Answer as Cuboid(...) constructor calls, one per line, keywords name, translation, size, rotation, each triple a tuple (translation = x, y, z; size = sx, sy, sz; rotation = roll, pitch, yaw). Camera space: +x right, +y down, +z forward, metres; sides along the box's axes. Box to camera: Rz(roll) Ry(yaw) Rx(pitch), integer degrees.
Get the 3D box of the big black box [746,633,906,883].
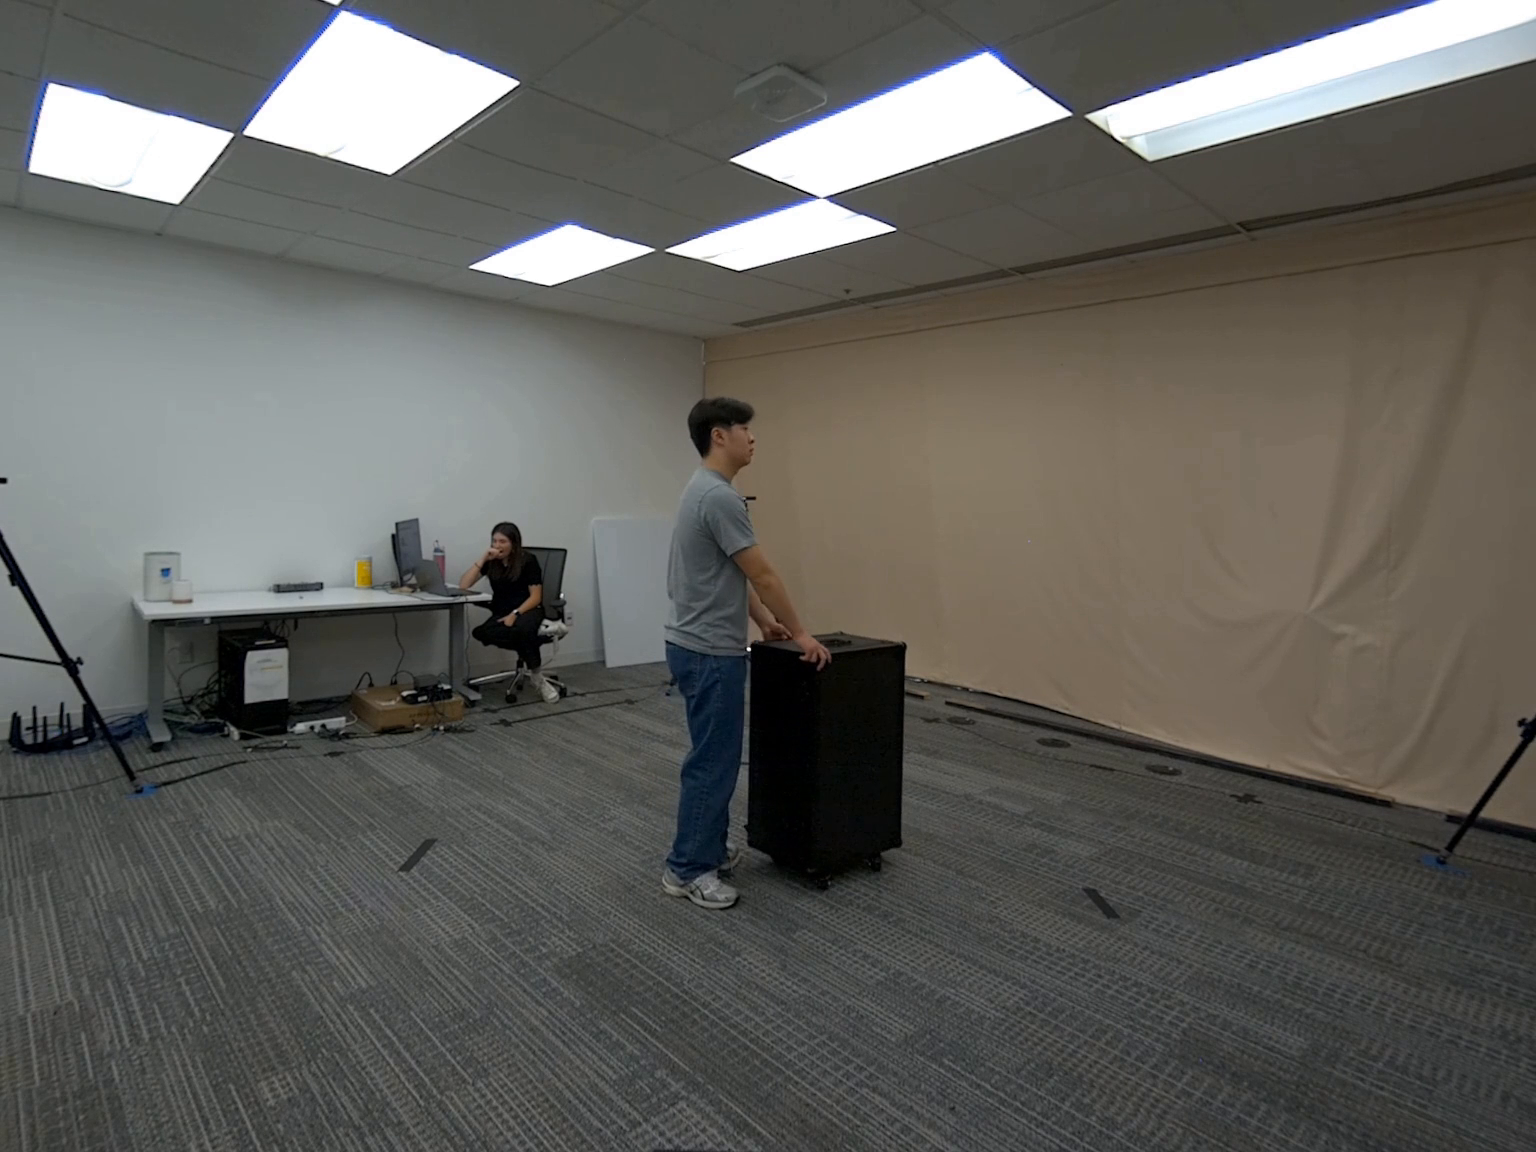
Cuboid(name="big black box", translation=(0.210, 0.682, 3.215), size=(0.509, 0.859, 0.406), rotation=(-2, 4, -40))
